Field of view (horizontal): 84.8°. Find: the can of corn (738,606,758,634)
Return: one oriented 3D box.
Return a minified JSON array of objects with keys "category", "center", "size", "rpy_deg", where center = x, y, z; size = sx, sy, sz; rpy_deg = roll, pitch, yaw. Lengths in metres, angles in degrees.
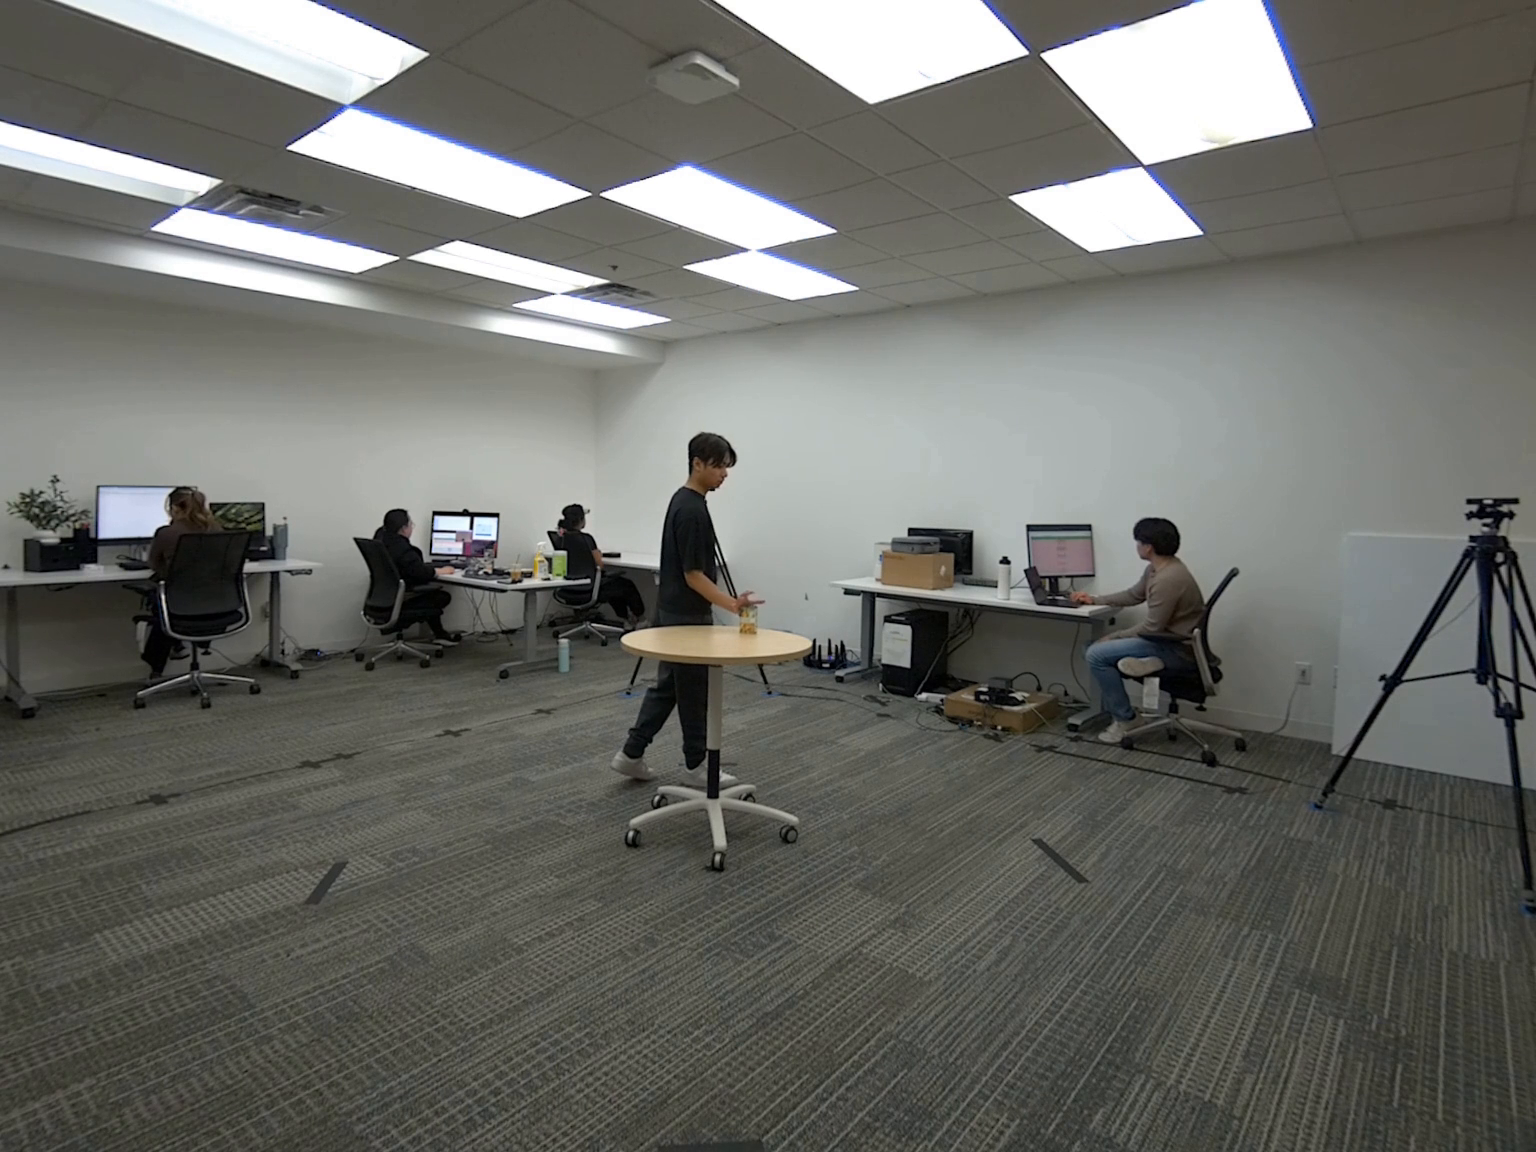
[{"category":"can of corn","center":[-0.089,0.185,3.623],"size":[0.074,0.110,0.074],"rpy_deg":[0,5,-2]}]
